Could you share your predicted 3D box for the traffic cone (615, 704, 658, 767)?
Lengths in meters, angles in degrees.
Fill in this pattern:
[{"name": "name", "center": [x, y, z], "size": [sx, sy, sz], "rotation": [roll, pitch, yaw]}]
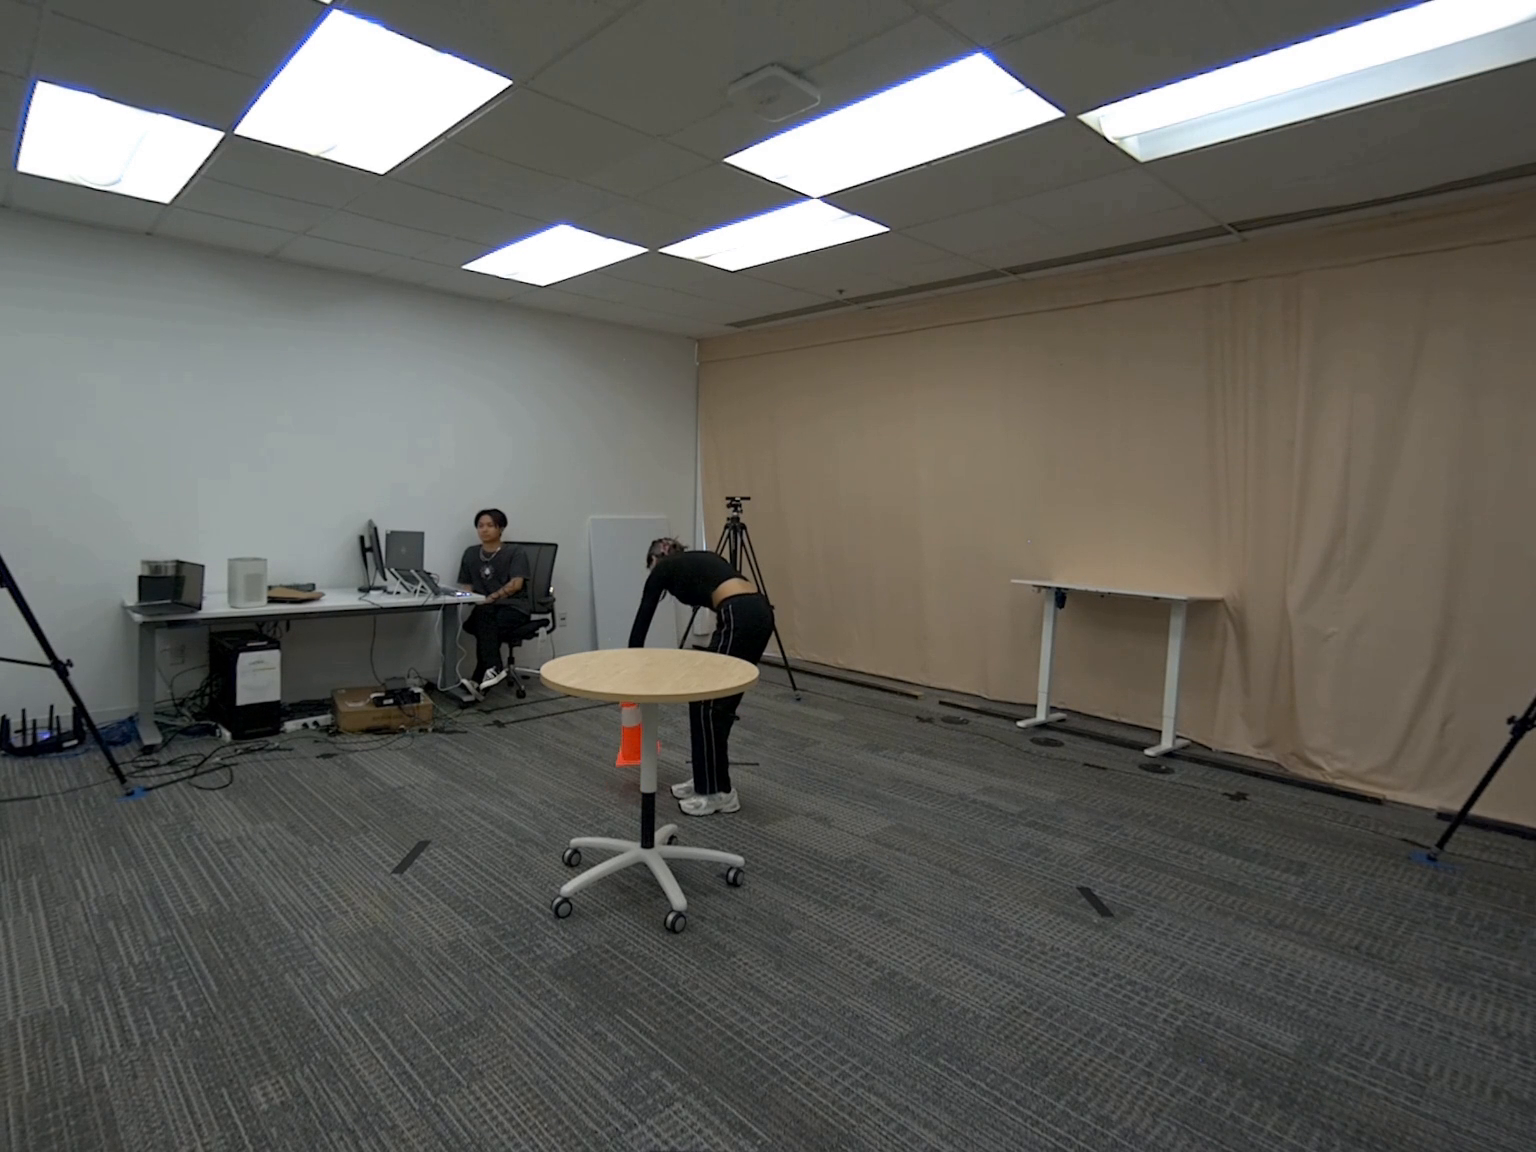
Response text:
[{"name": "traffic cone", "center": [-0.653, 0.668, 4.005], "size": [0.203, 0.381, 0.206], "rotation": [-4, 10, 1]}]
